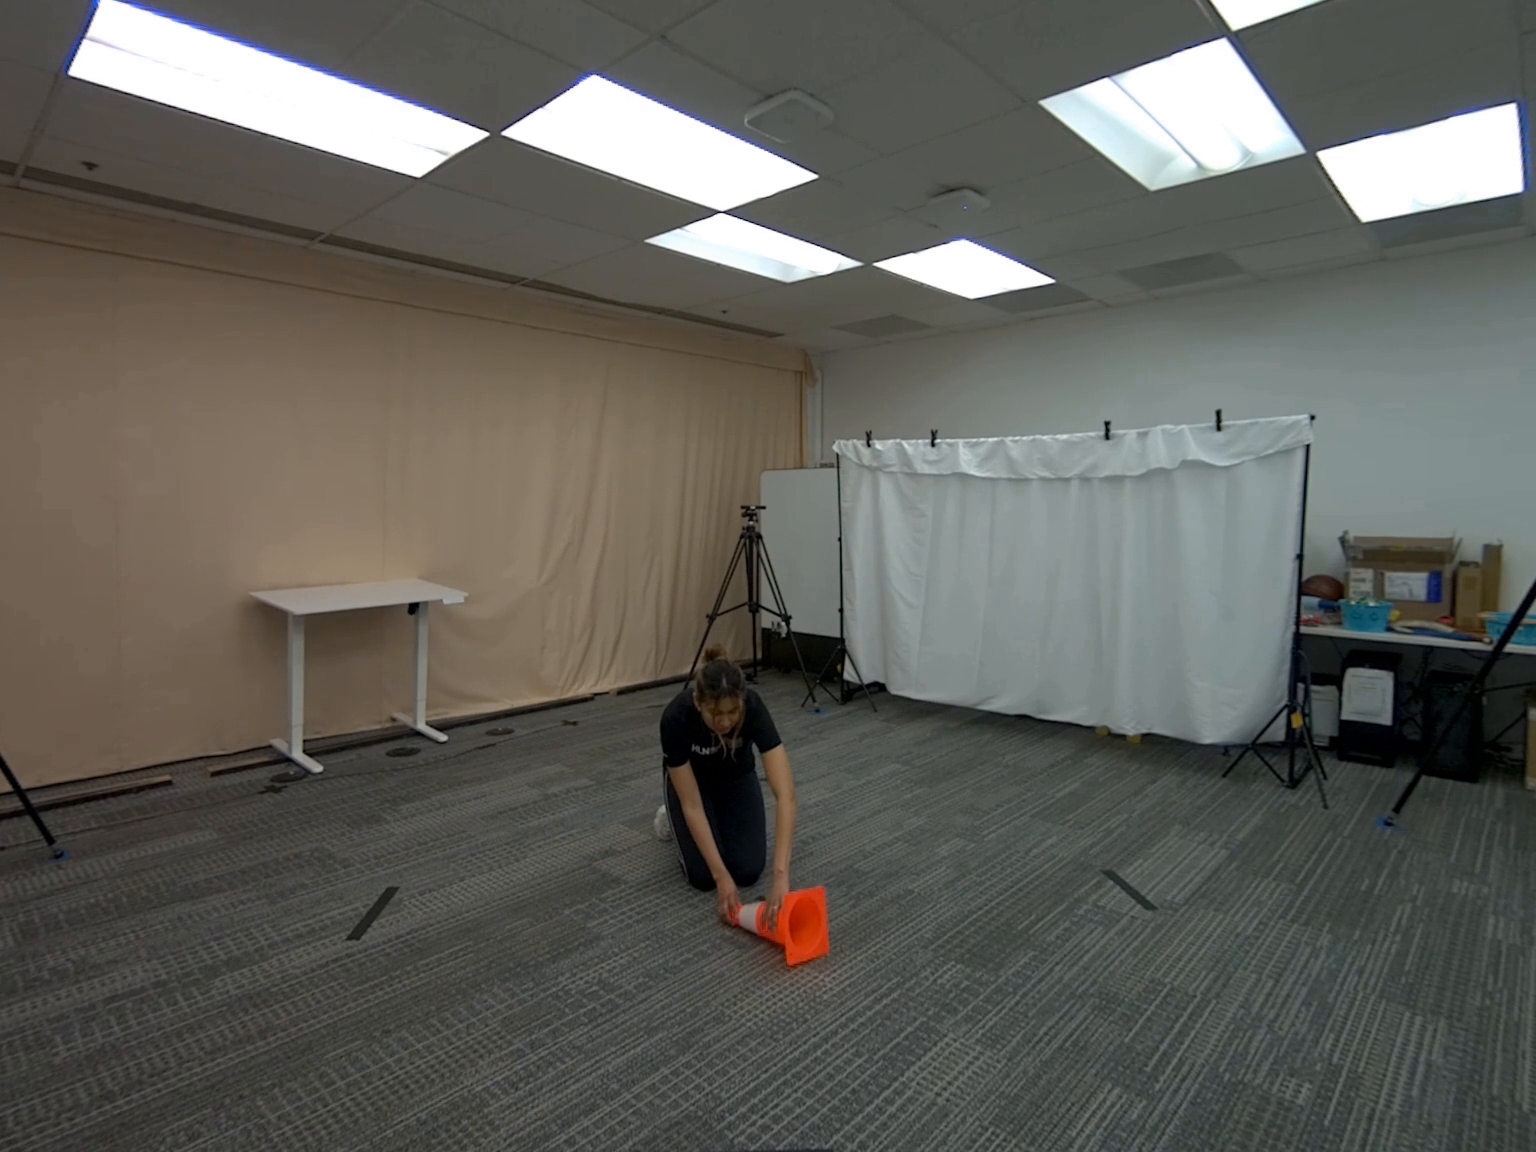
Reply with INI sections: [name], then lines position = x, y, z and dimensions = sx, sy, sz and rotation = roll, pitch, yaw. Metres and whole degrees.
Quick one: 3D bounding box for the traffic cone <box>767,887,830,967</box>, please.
[traffic cone]
position = -0.013, 1.107, 2.711
dimensions = 0.394, 0.207, 0.196
rotation = -13, -16, 42
